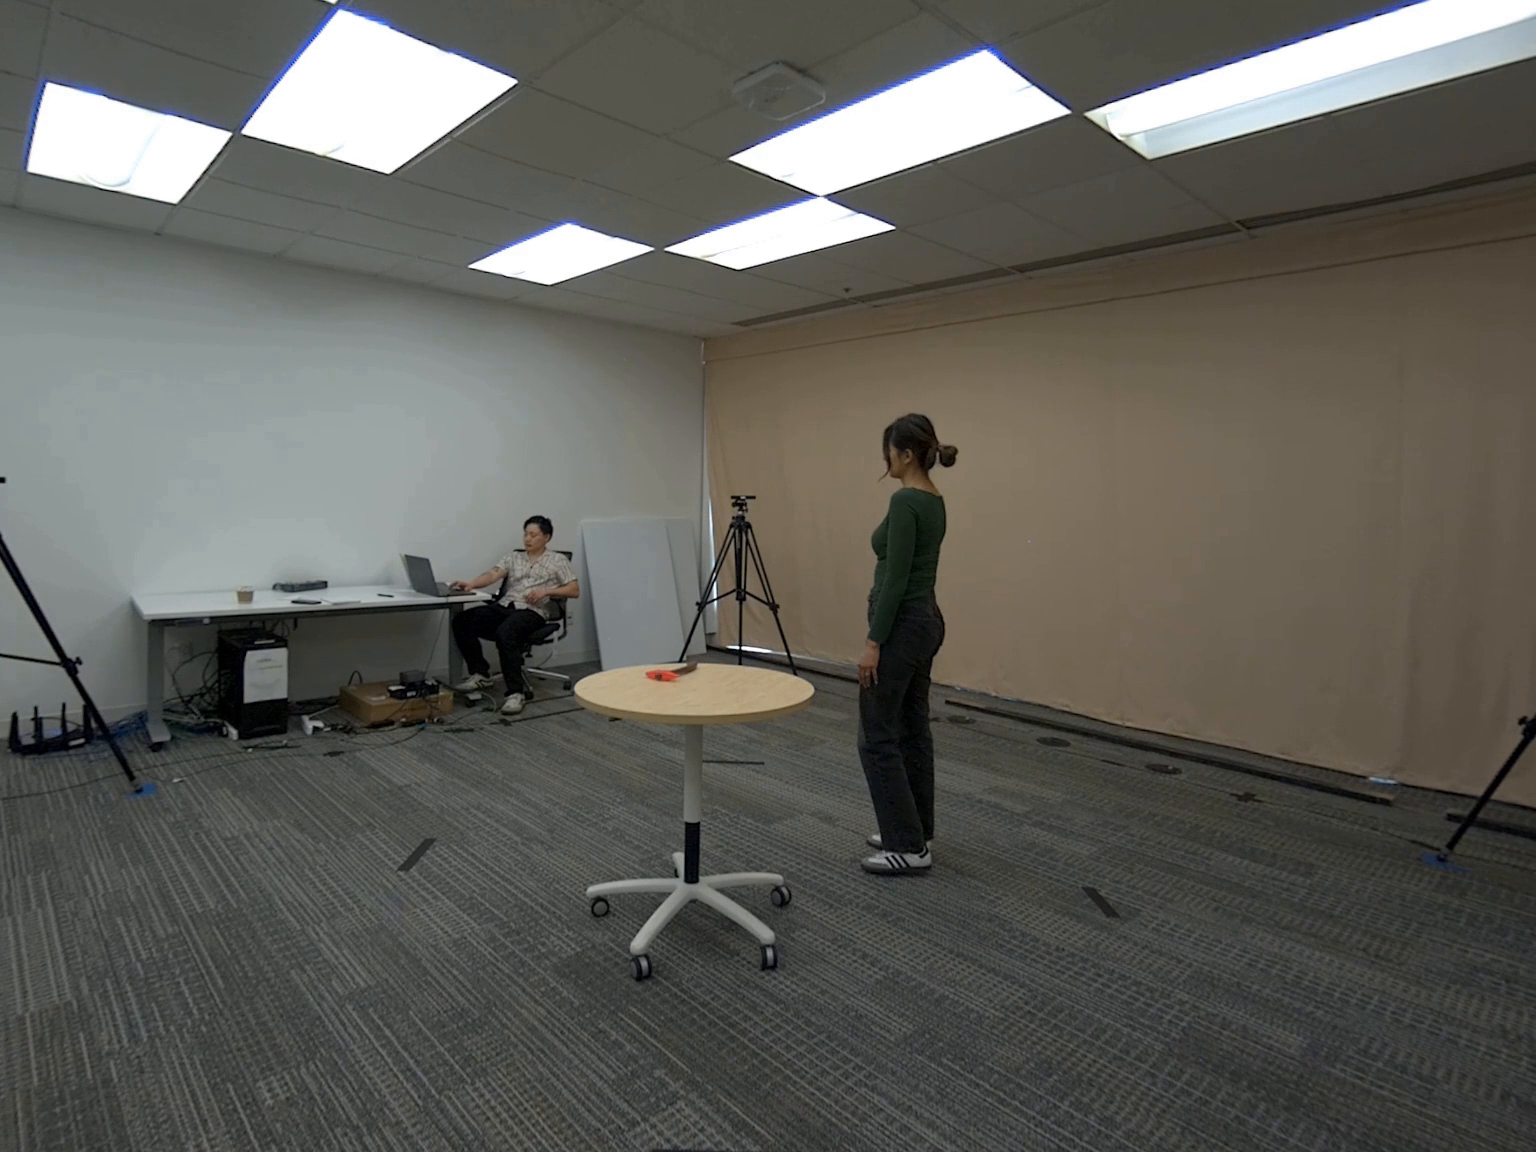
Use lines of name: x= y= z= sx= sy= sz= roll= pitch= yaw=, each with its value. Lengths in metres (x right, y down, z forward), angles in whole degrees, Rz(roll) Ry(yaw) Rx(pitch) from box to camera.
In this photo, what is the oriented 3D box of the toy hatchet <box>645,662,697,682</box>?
toy hatchet: x=-0.344 y=0.328 z=2.889 sx=0.132 sy=0.029 sz=0.268 roll=-1 pitch=3 yaw=9
